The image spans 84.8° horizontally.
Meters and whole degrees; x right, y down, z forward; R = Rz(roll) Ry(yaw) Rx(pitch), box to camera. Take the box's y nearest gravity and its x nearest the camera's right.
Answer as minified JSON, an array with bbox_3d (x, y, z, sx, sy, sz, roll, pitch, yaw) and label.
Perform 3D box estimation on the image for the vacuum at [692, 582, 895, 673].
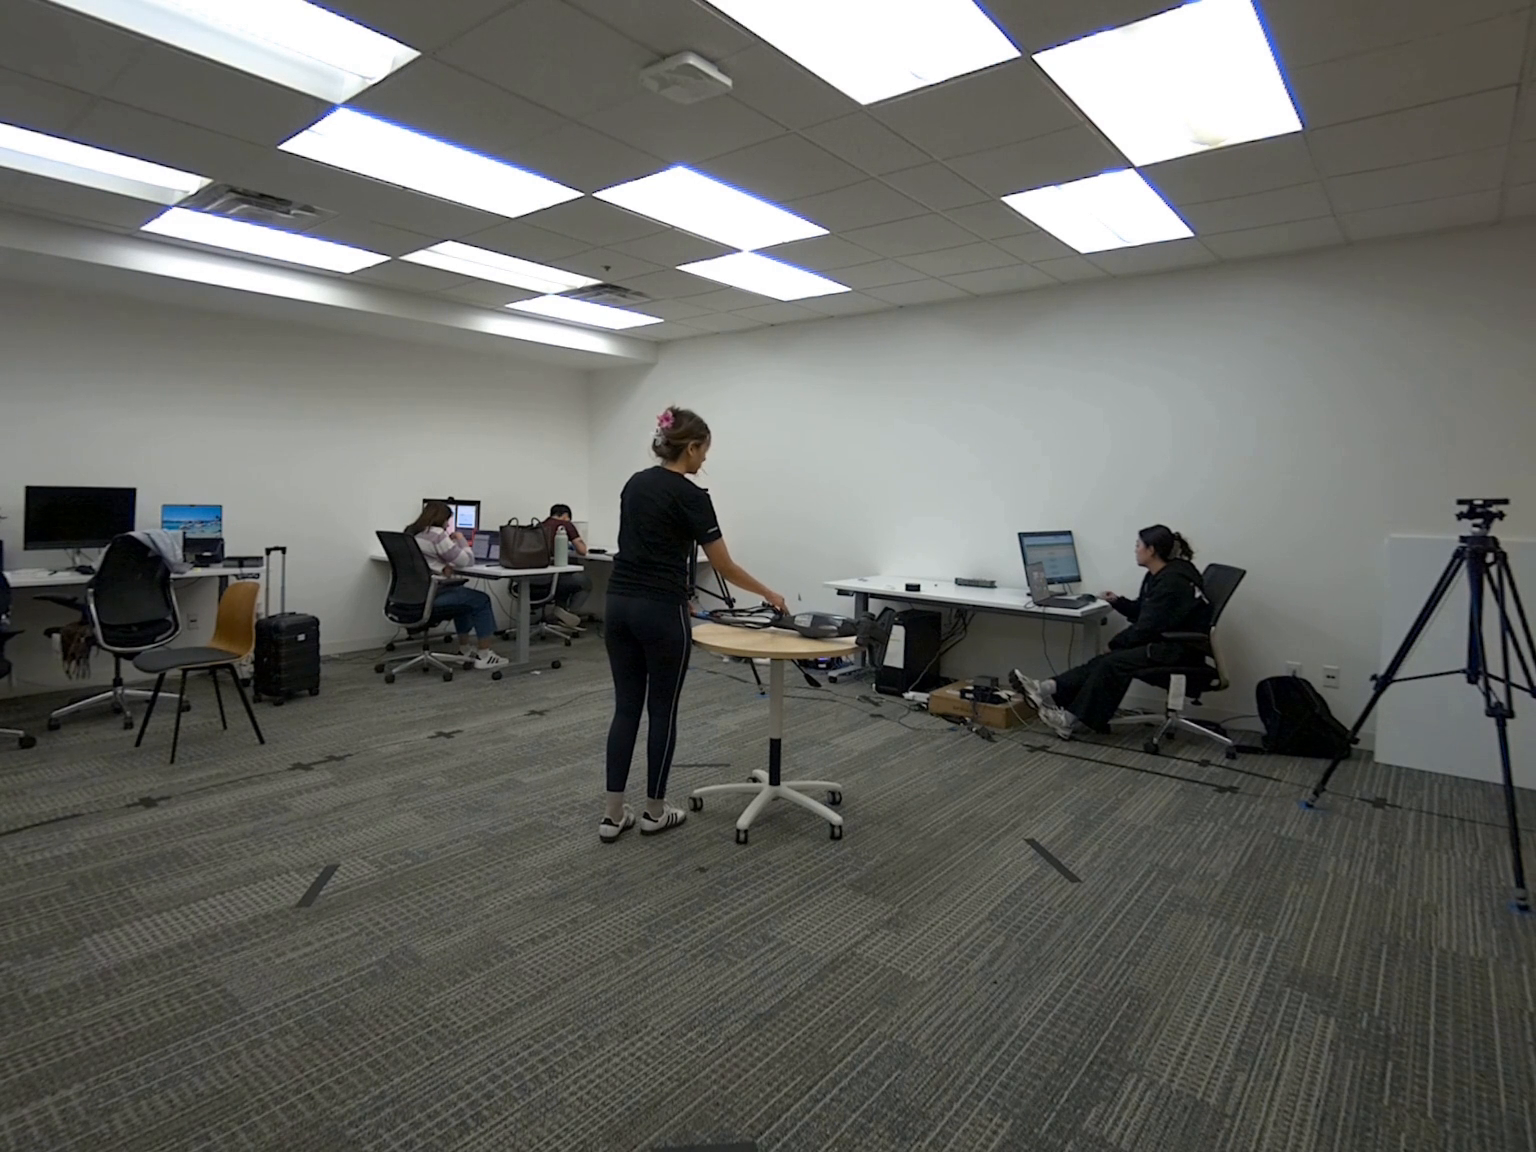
[{"bbox_3d":[0.012,0.203,3.665,1.084,0.255,0.138,4,-24,38],"label":"vacuum"}]
